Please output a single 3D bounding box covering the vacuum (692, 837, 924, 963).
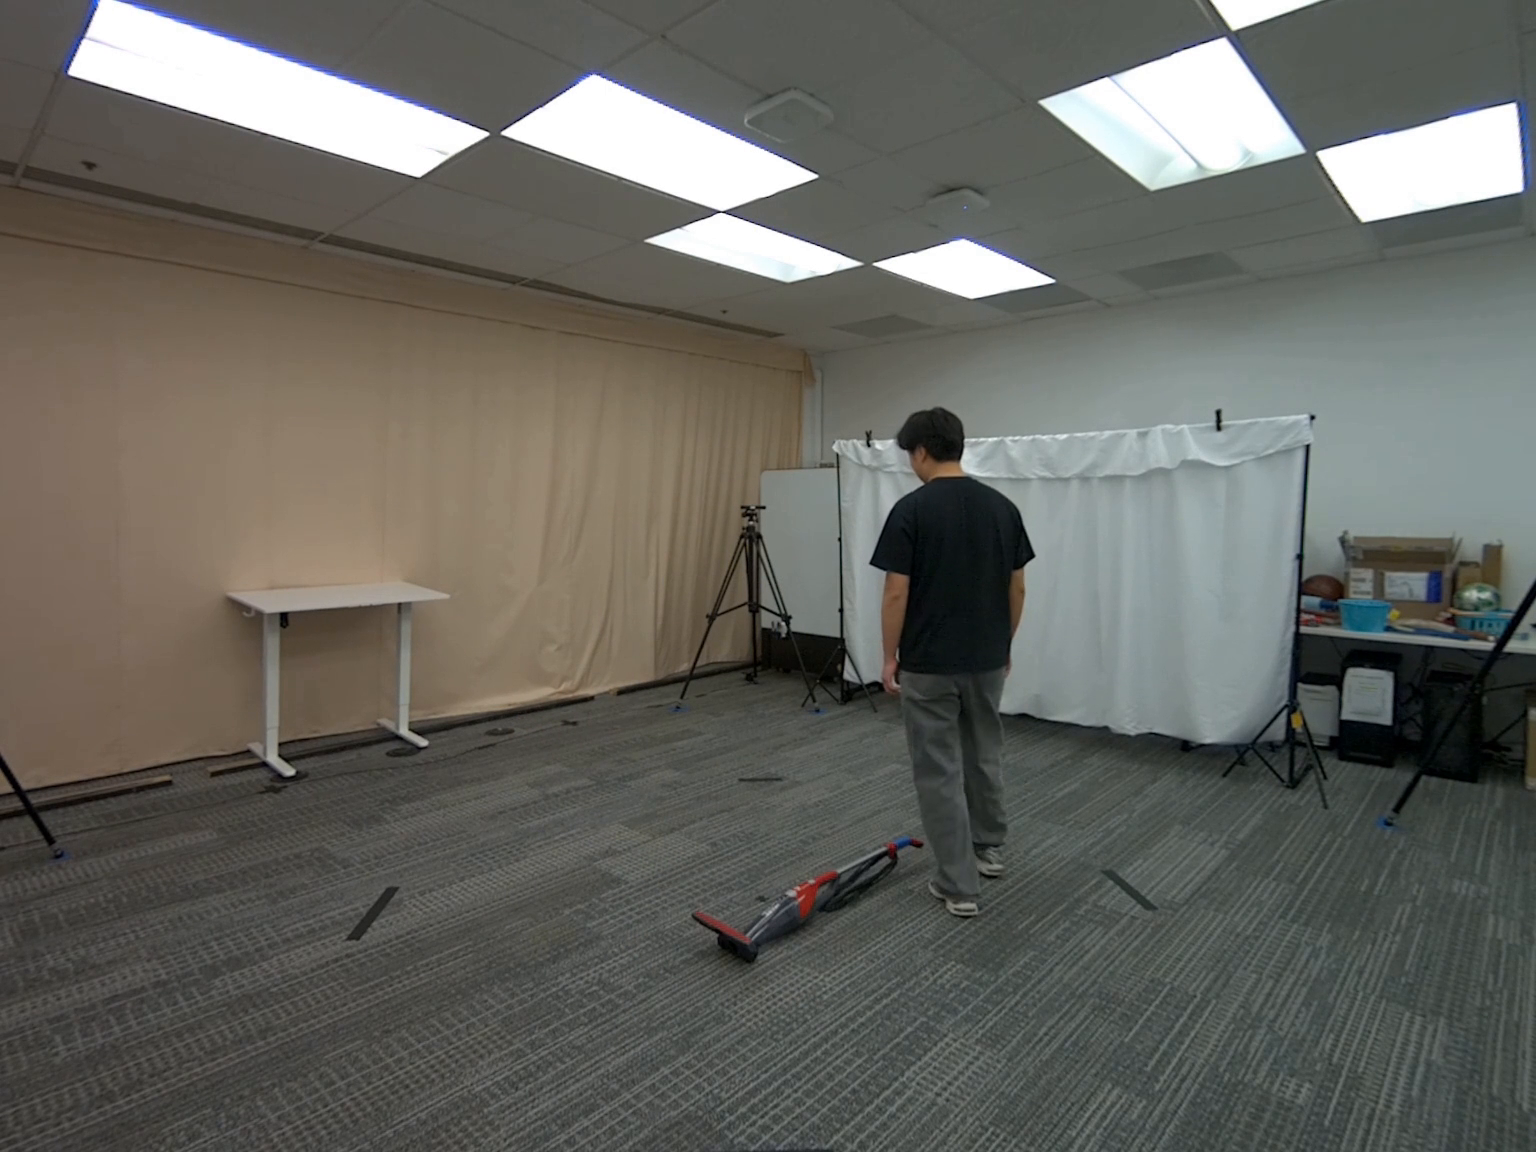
[{"bbox_3d":[0.234,1.093,2.931,1.017,0.143,0.261,-5,6,-44],"label":"vacuum"}]
